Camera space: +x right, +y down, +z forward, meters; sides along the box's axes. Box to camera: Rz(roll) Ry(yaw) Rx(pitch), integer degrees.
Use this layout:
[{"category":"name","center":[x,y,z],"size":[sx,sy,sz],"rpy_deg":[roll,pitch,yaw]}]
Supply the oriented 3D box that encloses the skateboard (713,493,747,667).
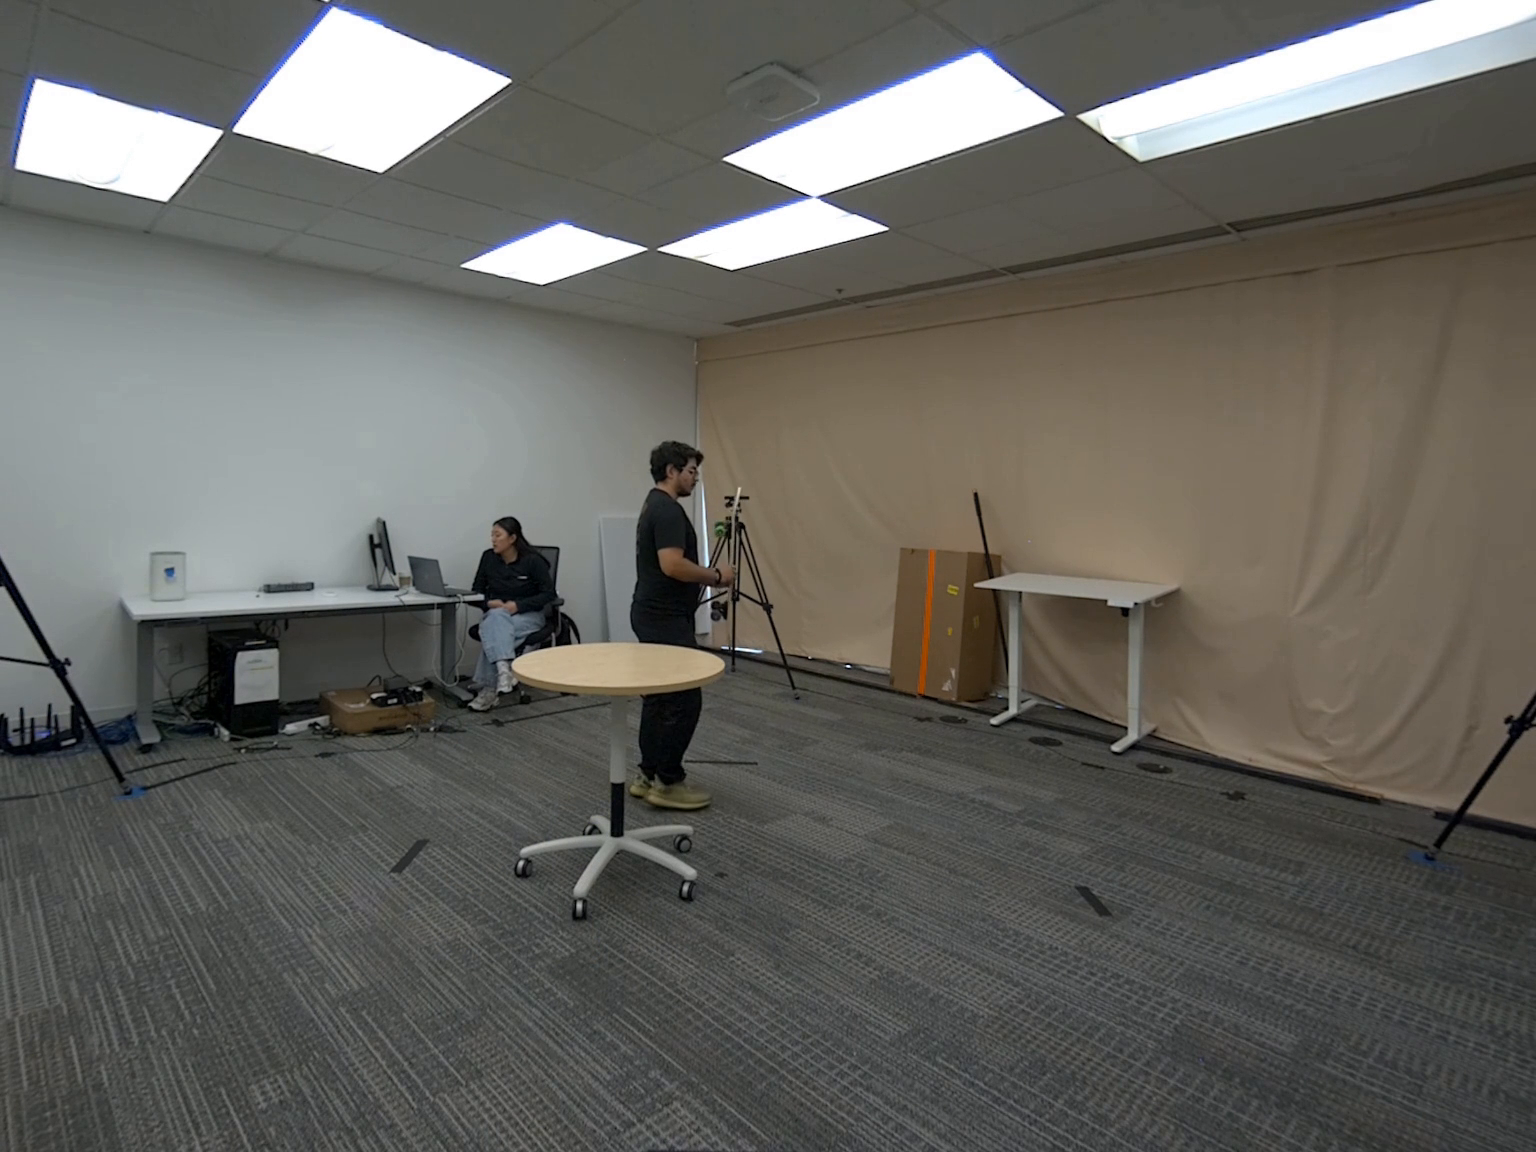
[{"category":"skateboard","center":[-0.222,-0.023,3.934],"size":[0.110,0.779,0.196],"rpy_deg":[2,11,-6]}]
